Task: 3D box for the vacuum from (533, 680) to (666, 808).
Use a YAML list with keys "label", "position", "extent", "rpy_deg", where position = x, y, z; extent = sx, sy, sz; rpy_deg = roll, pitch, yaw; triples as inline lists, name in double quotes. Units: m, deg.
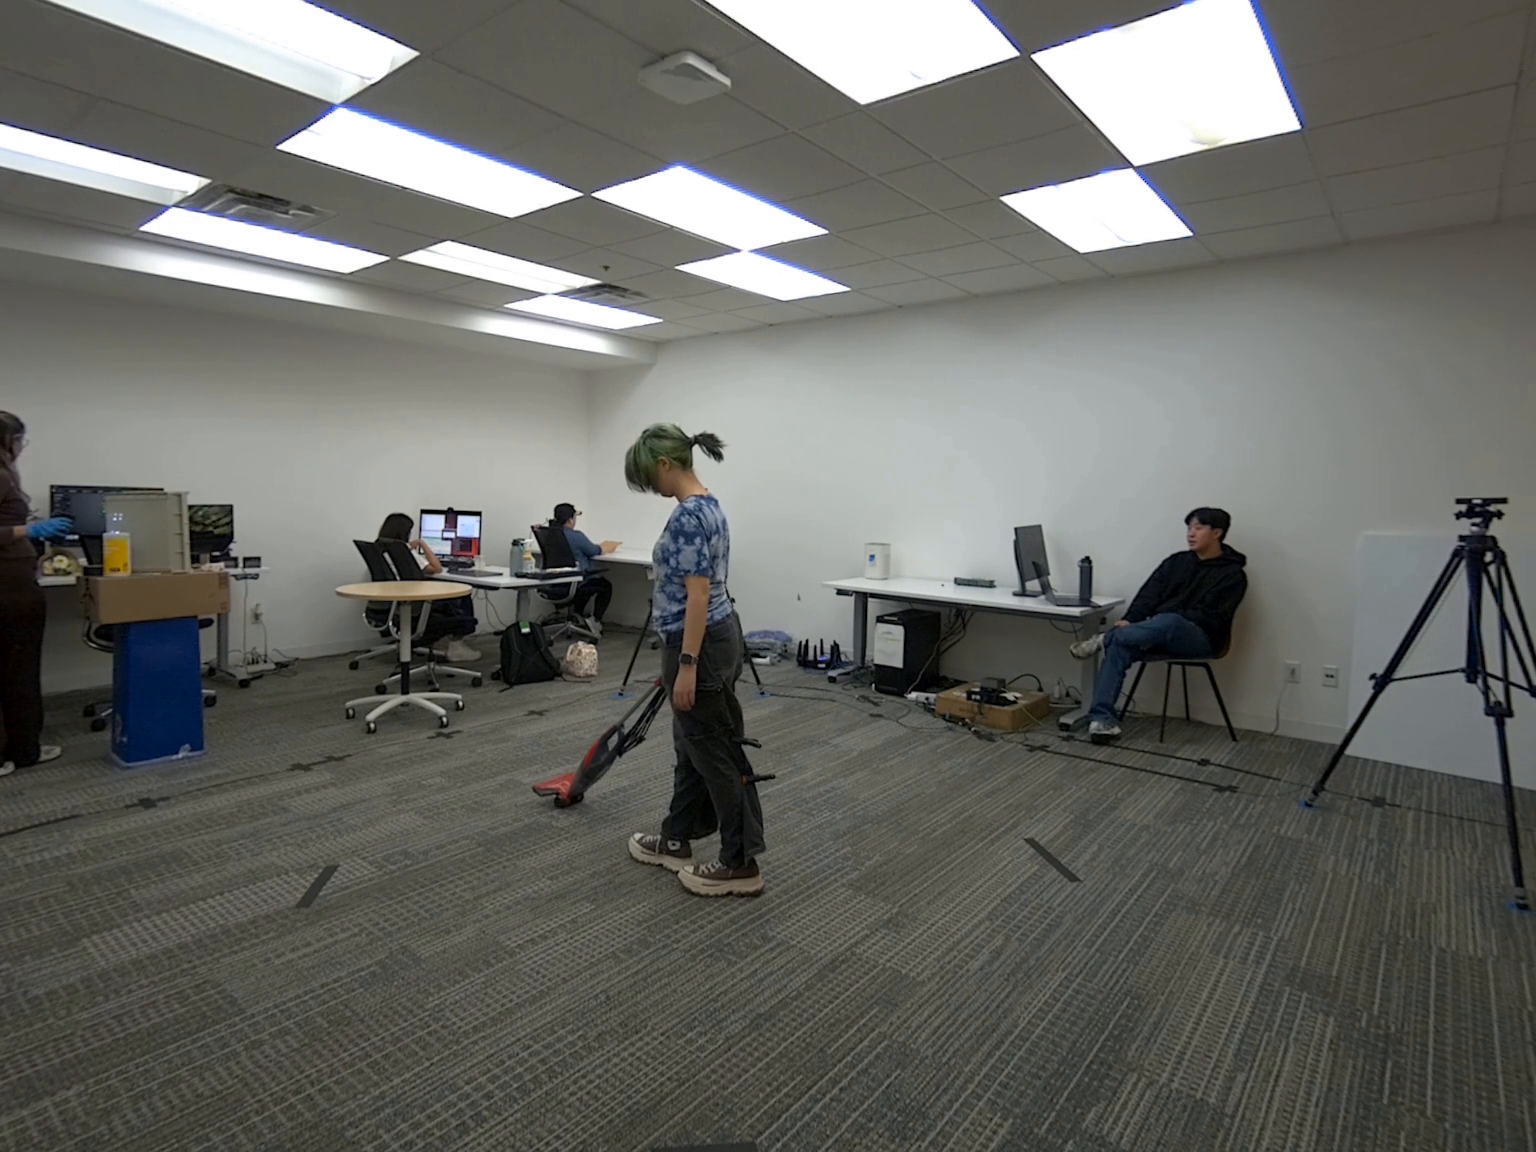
- label: "vacuum"
  position: [-0.605, 0.645, 3.500]
  extent: [1.051, 0.148, 0.245]
  rpy_deg: [-44, -22, 30]
